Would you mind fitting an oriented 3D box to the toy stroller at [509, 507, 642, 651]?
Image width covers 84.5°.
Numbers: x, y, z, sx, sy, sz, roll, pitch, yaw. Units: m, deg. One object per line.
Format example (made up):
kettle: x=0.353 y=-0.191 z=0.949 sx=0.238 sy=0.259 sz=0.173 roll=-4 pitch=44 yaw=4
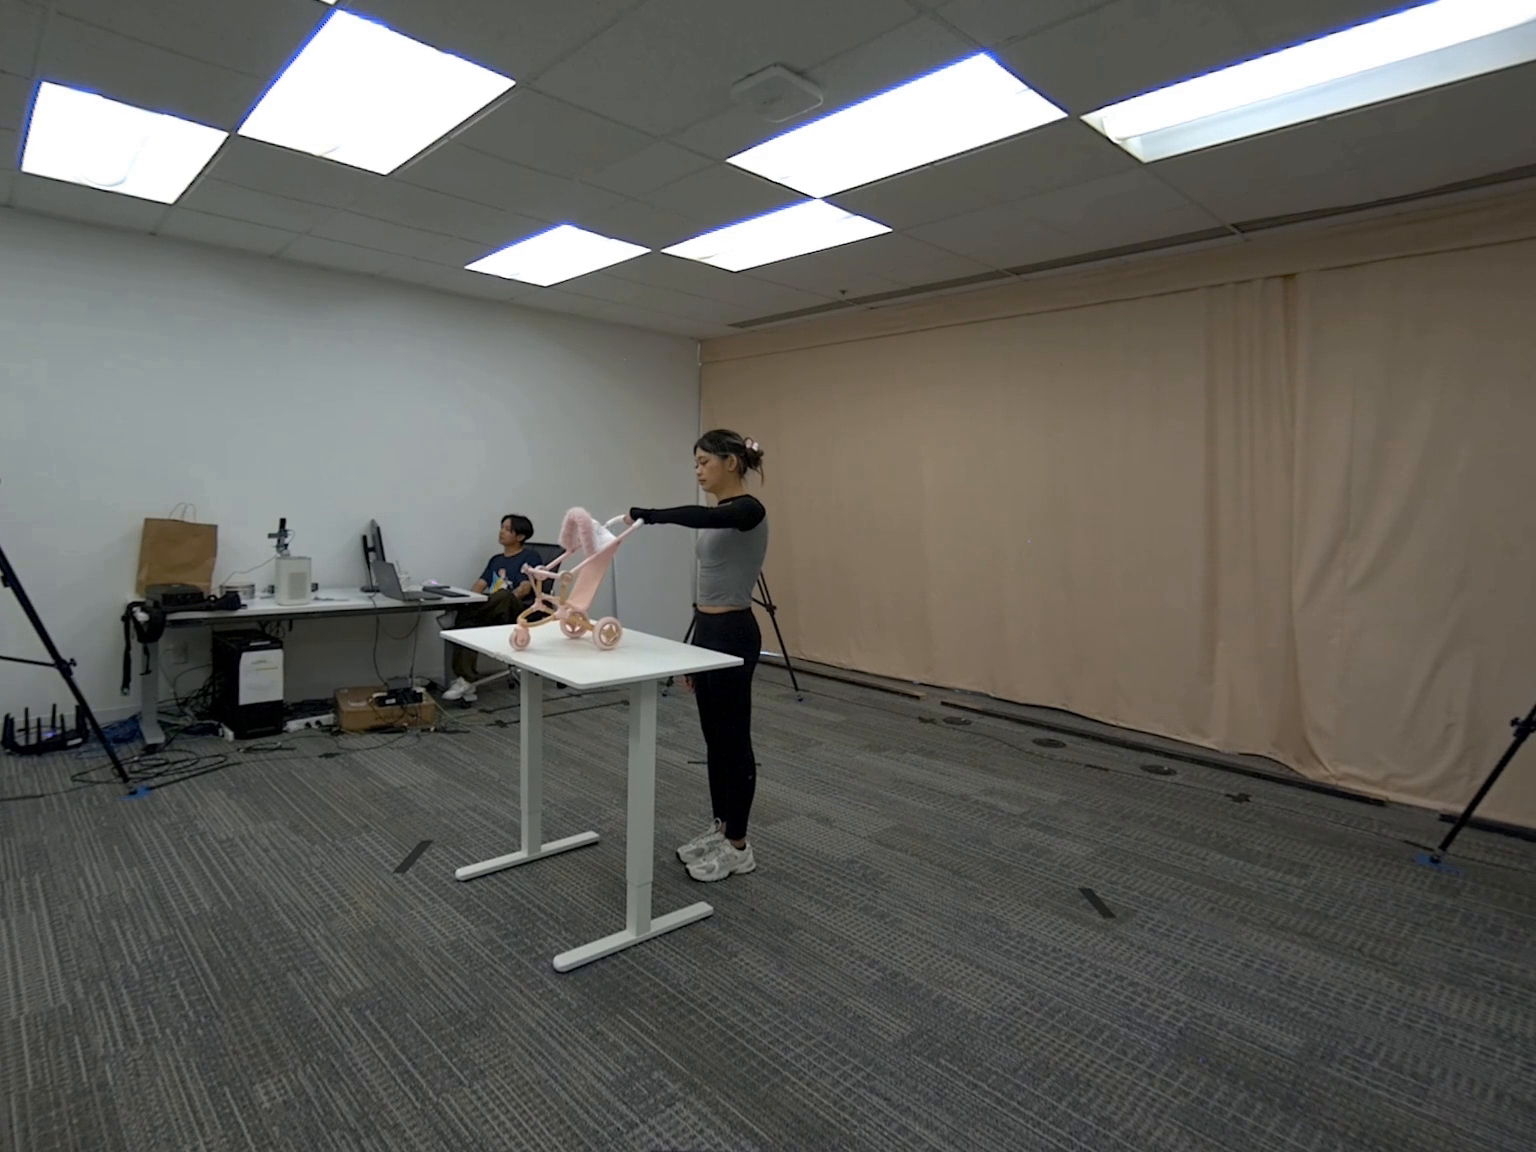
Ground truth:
toy stroller: x=-0.662 y=0.012 z=2.835 sx=0.332 sy=0.536 sz=0.288 roll=16 pitch=-5 yaw=-32
